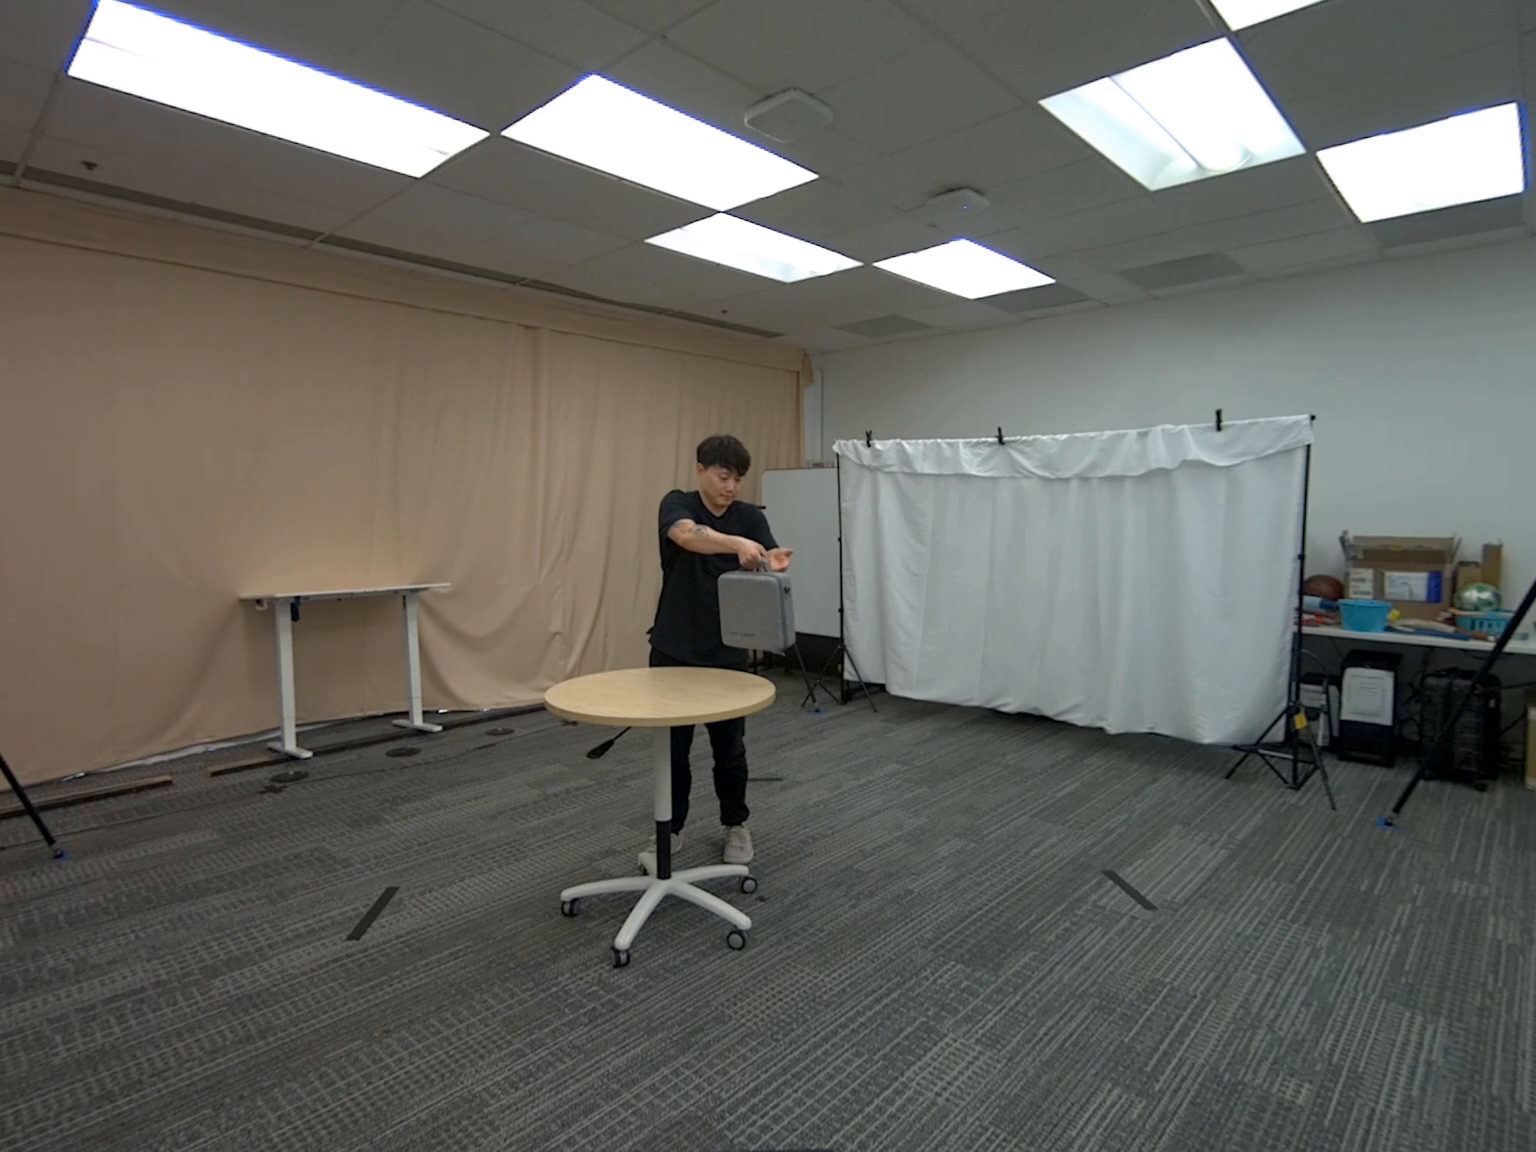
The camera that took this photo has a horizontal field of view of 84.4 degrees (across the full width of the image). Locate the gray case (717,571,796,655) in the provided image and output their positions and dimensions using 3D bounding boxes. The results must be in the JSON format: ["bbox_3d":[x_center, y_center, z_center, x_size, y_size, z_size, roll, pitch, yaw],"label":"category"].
[{"bbox_3d":[-0.042,0.110,2.807,0.265,0.260,0.101,2,7,39],"label":"gray case"}]
